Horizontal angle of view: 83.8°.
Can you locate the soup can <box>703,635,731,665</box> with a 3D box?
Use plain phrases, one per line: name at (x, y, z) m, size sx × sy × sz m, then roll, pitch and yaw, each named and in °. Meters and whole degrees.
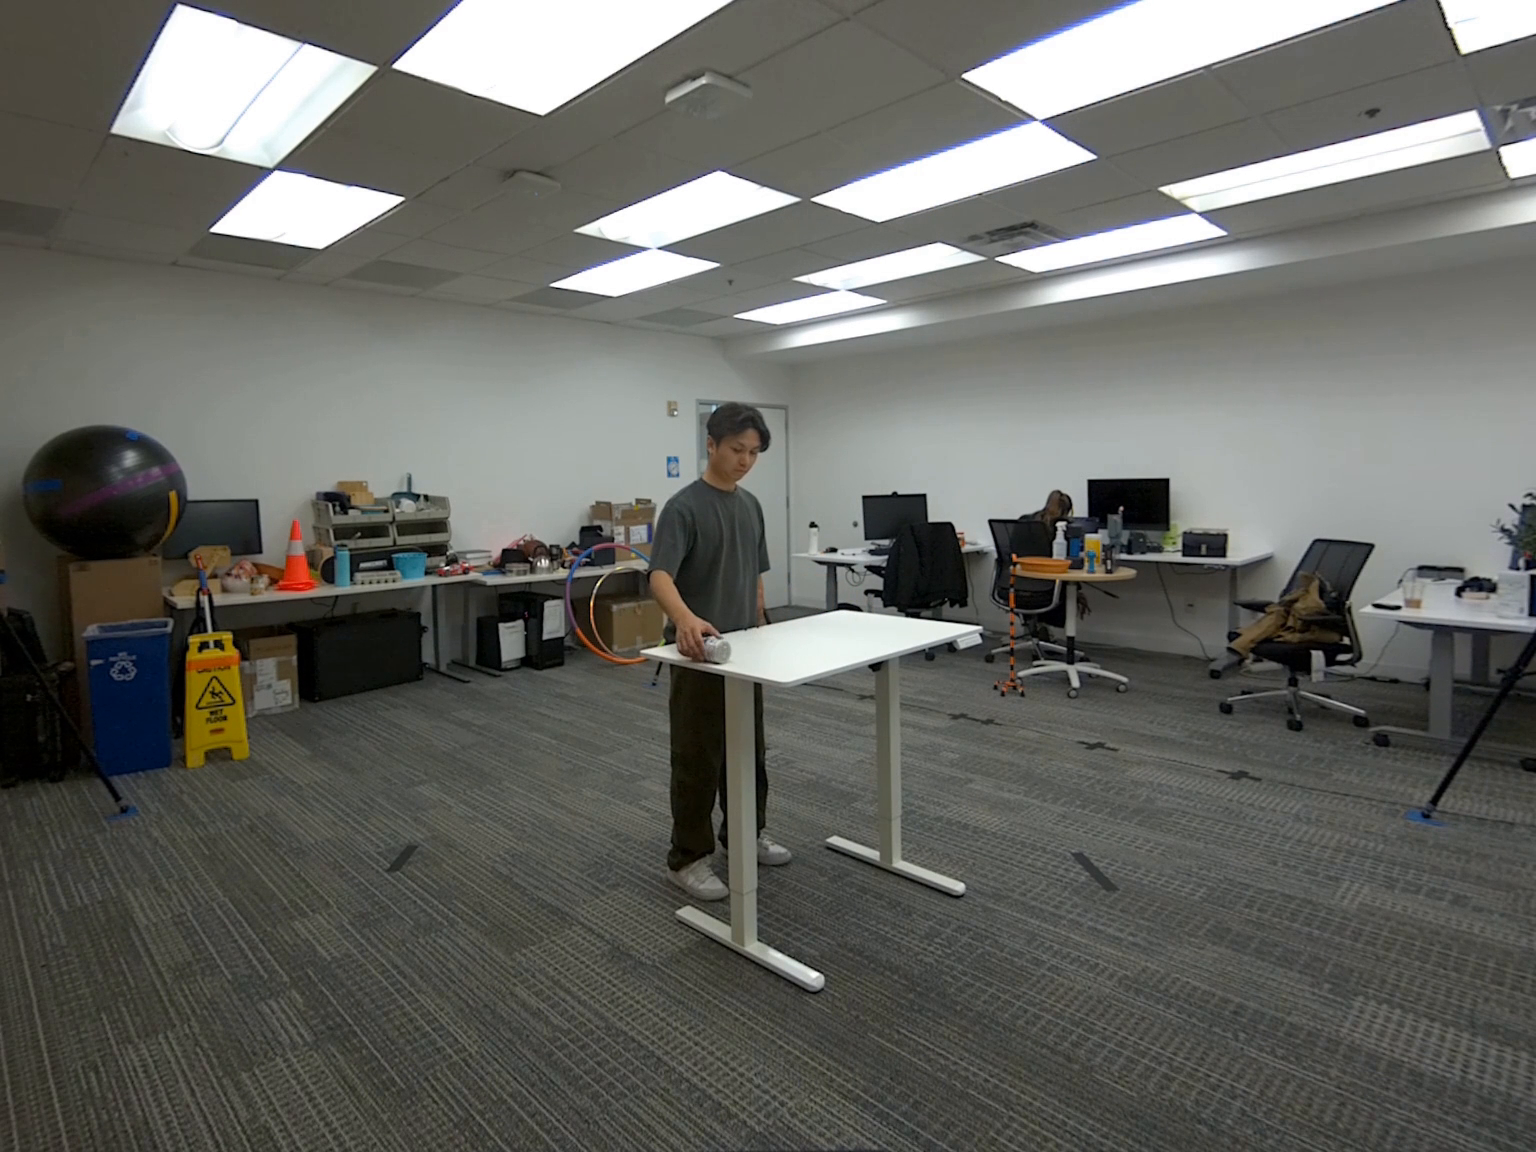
soup can at (-0.163, 0.214, 2.448) m, size 0.065 × 0.067 × 0.124 m, roll -4°, pitch 2°, yaw -30°
